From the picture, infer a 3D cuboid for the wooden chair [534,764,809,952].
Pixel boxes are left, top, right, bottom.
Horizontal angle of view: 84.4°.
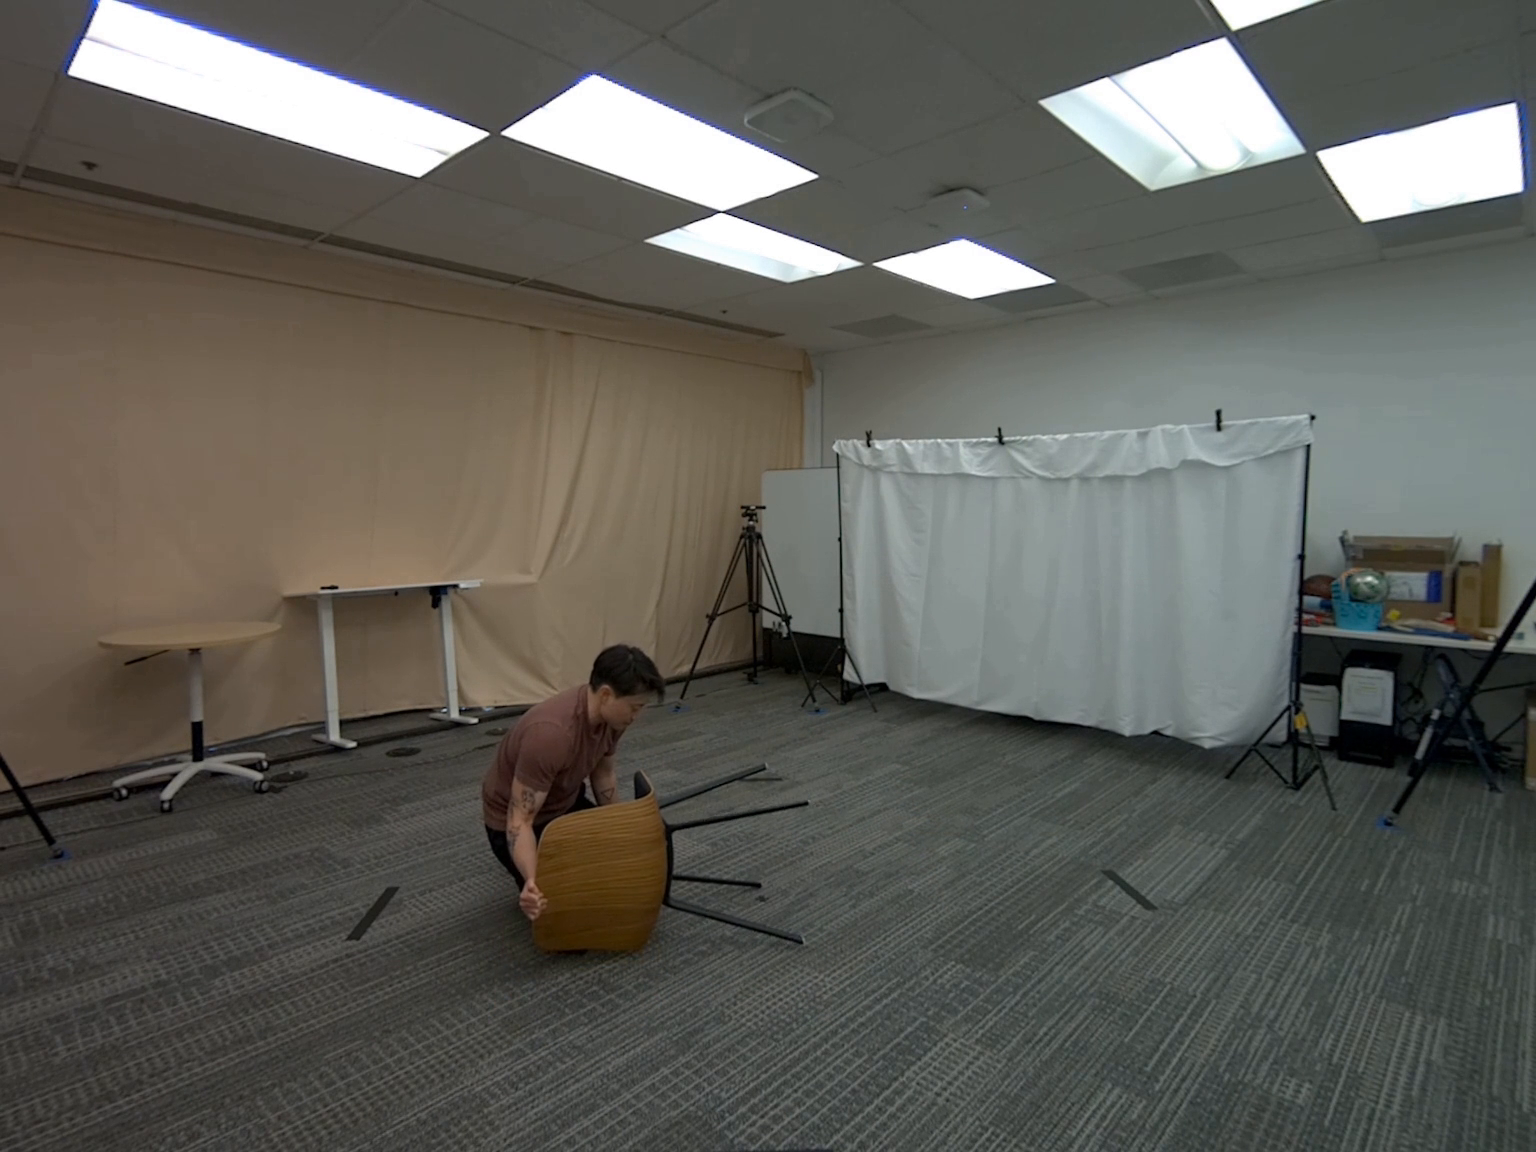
[{"bbox_3d":[-0.359,0.913,2.761,0.859,0.478,0.534,1,0,-20],"label":"wooden chair"}]
